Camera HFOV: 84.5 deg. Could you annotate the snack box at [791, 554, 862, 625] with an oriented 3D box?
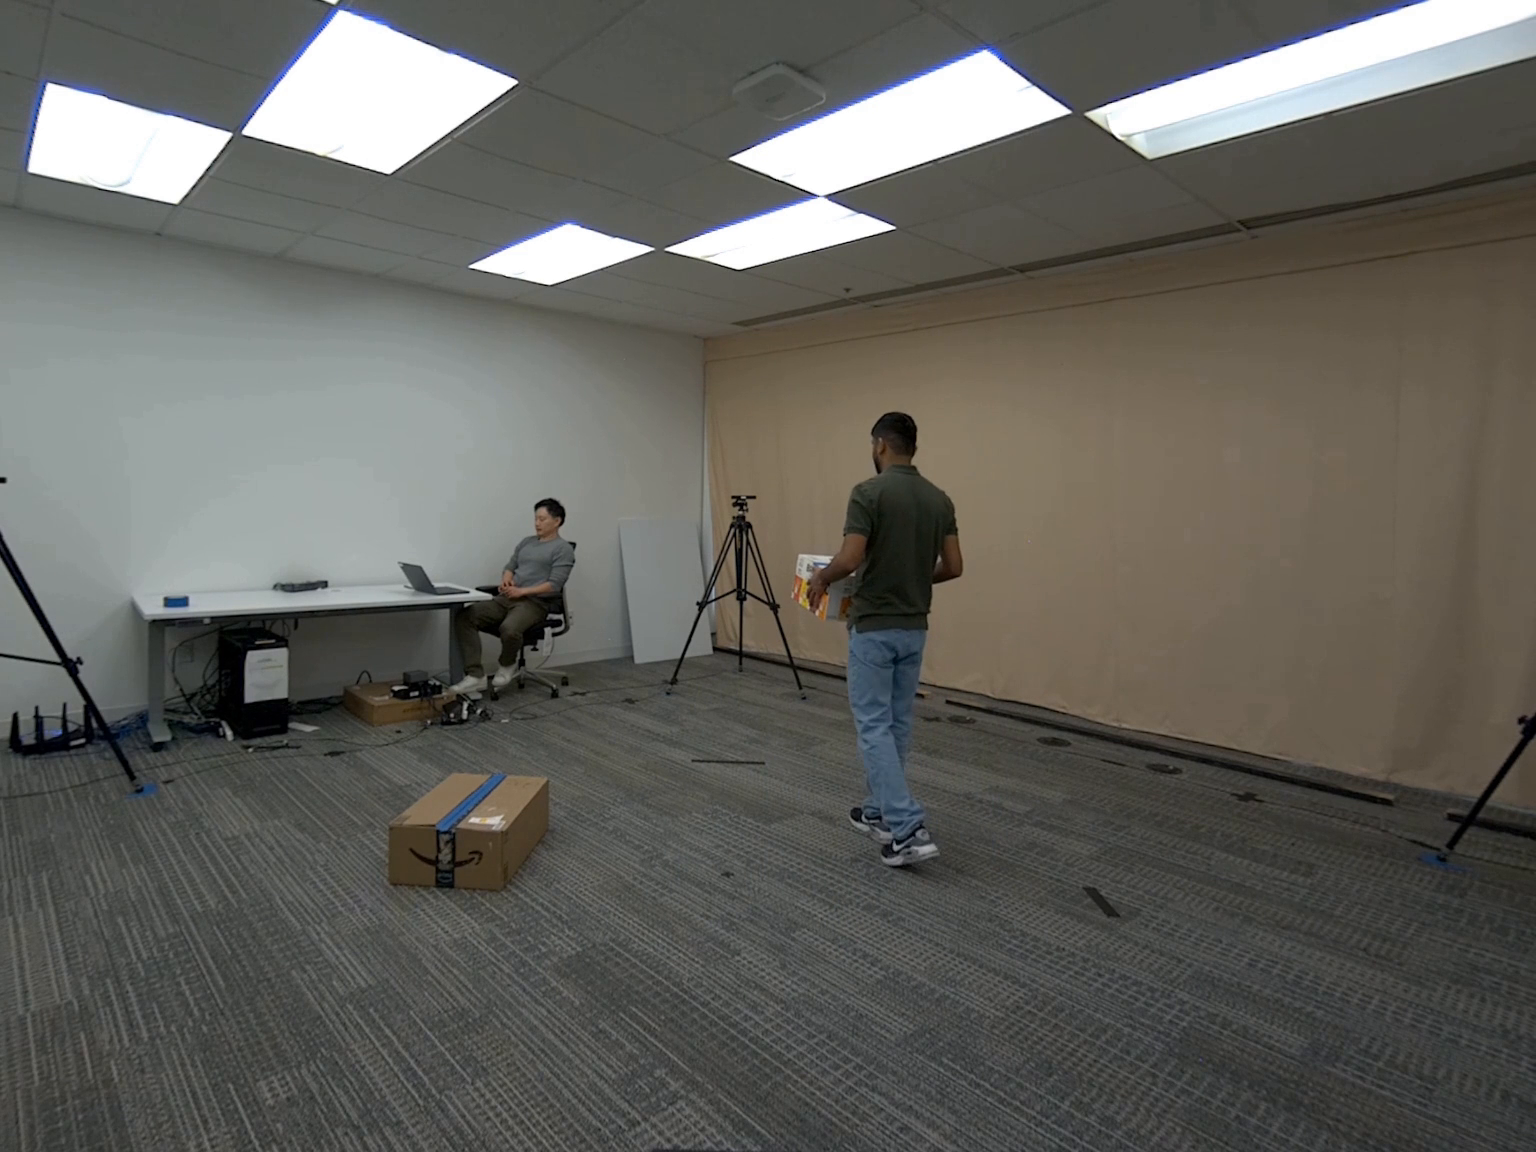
[{"bbox_3d":[0.366,0.060,3.649,0.398,0.204,0.349,4,13,-22],"label":"snack box"}]
